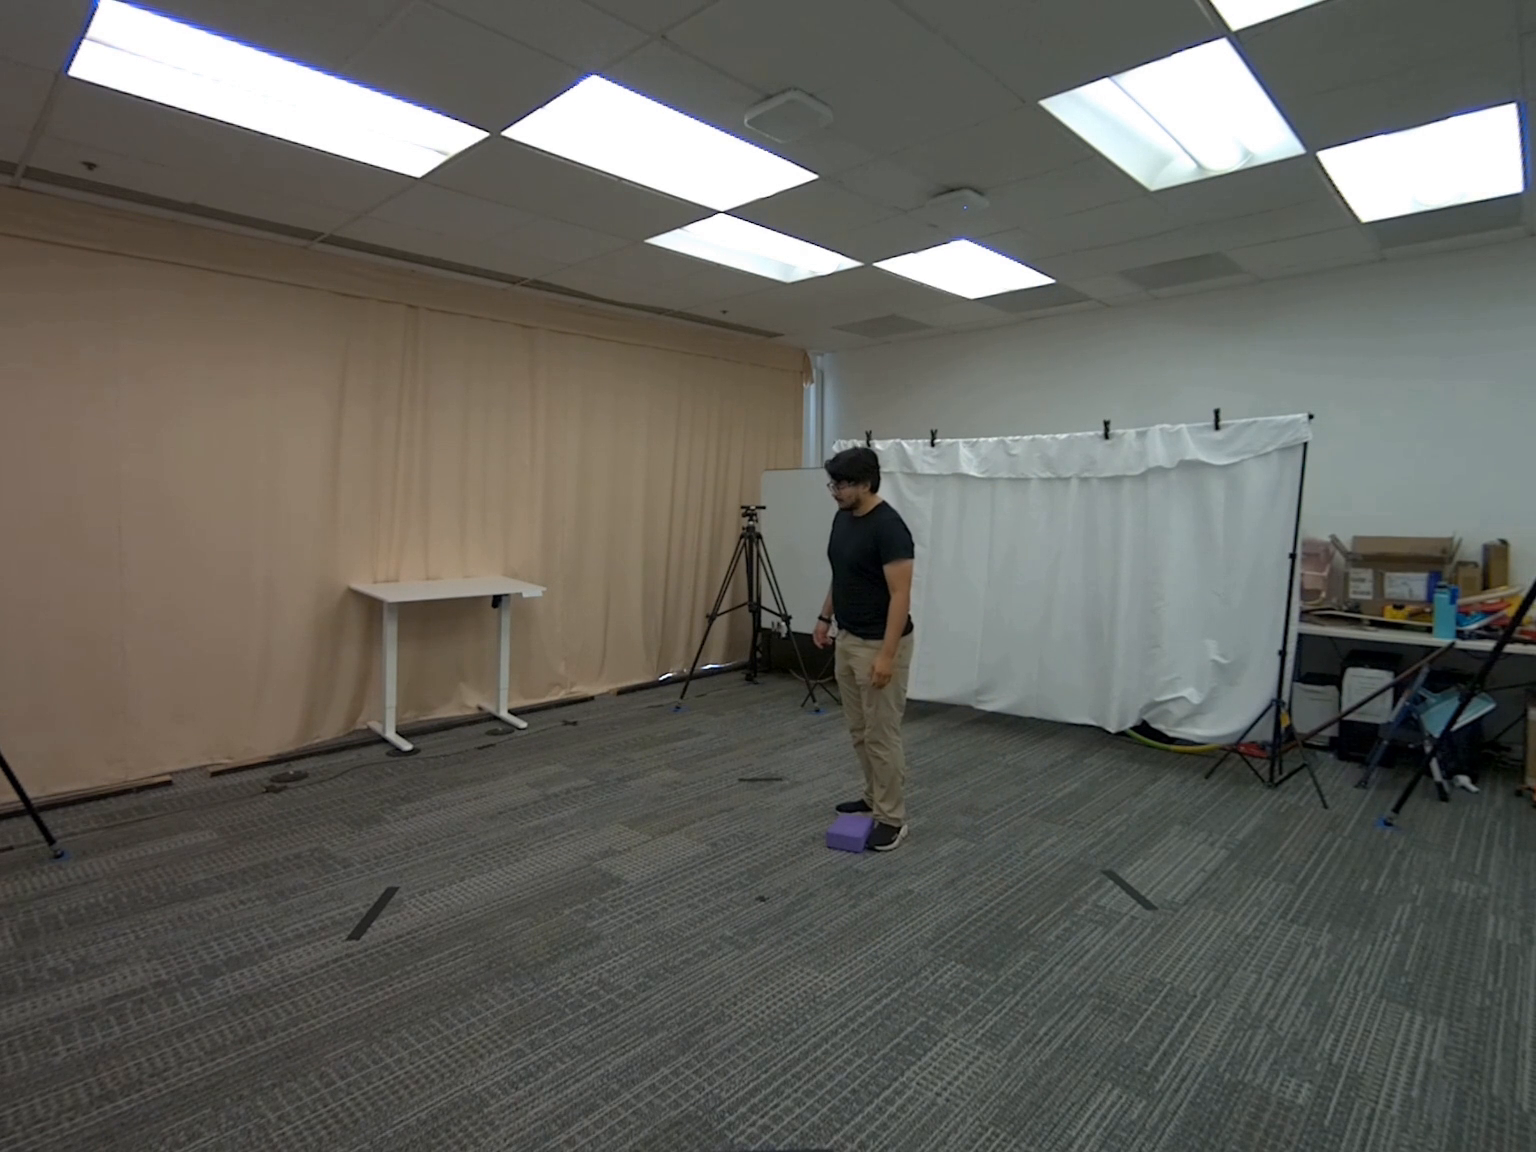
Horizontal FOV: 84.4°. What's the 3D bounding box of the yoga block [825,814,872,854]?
[{"bbox_3d":[0.345,1.059,3.492,0.152,0.076,0.225,3,7,22],"label":"yoga block"}]
